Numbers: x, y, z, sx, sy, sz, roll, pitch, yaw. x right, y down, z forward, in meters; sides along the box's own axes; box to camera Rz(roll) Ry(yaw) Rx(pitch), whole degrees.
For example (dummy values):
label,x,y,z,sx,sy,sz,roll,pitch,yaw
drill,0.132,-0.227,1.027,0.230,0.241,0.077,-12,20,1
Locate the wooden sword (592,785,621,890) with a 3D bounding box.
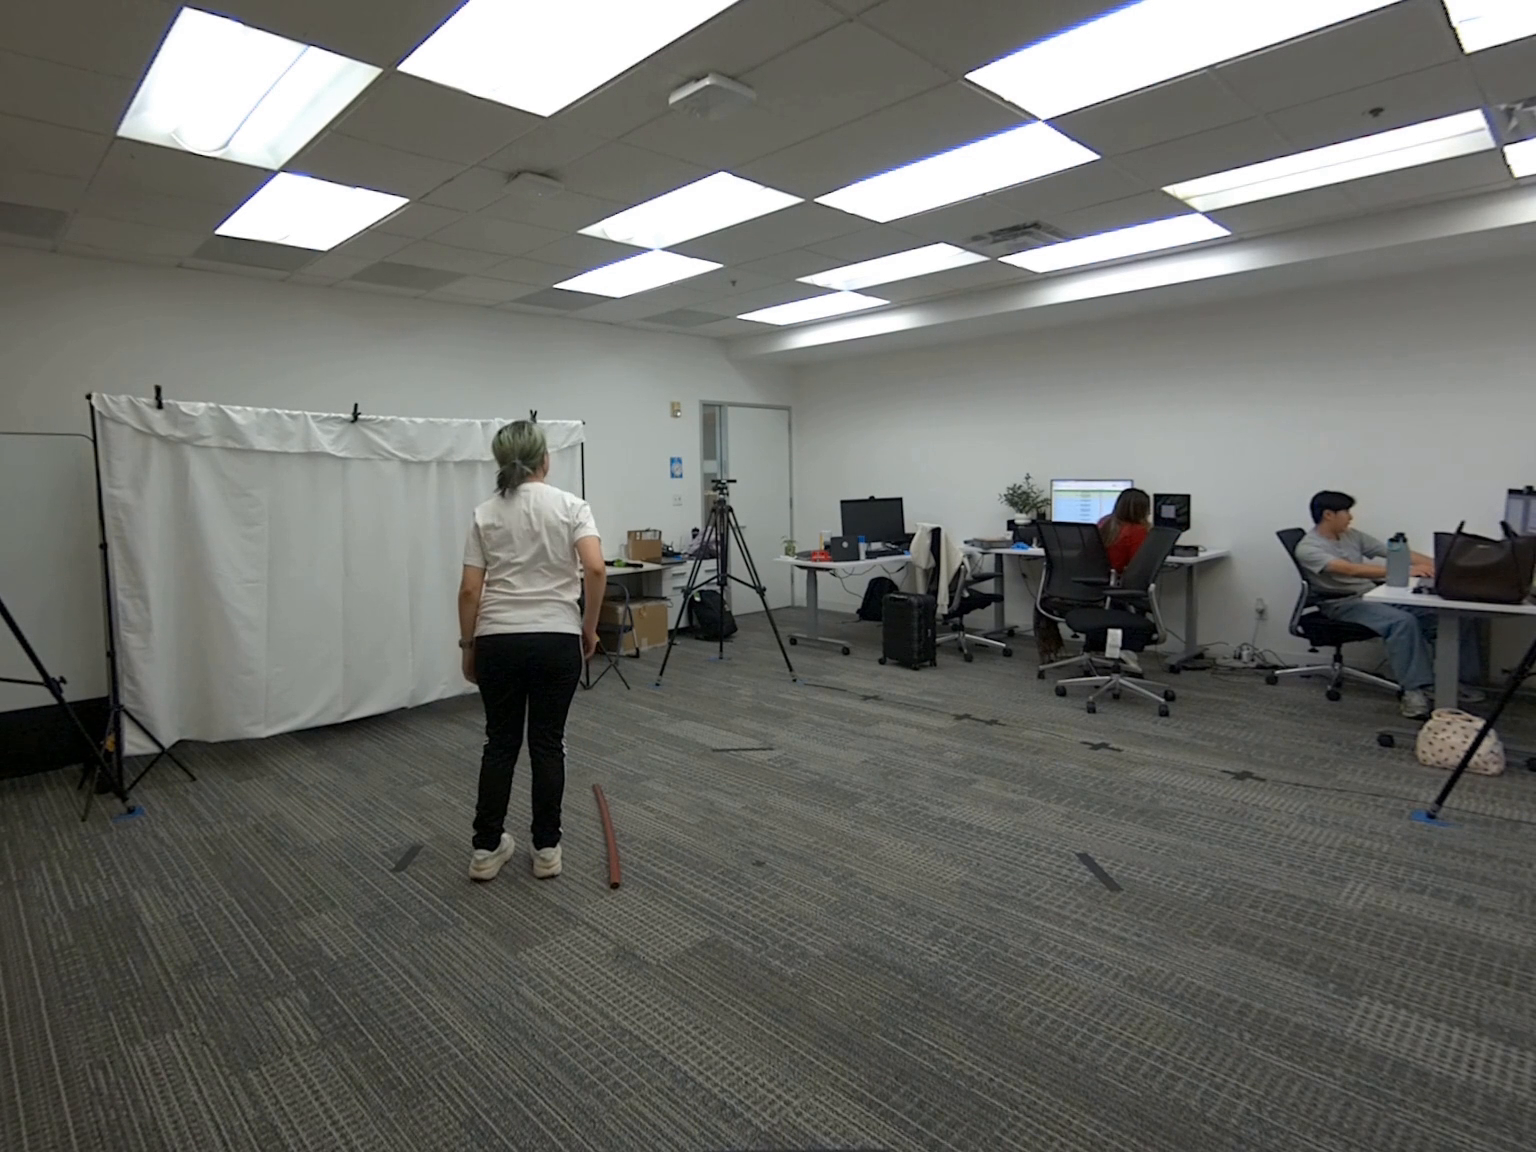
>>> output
label,x,y,z,sx,sy,sz,roll,pitch,yaw
wooden sword,-0.649,1.002,3.431,0.051,0.024,1.042,-14,9,-13
